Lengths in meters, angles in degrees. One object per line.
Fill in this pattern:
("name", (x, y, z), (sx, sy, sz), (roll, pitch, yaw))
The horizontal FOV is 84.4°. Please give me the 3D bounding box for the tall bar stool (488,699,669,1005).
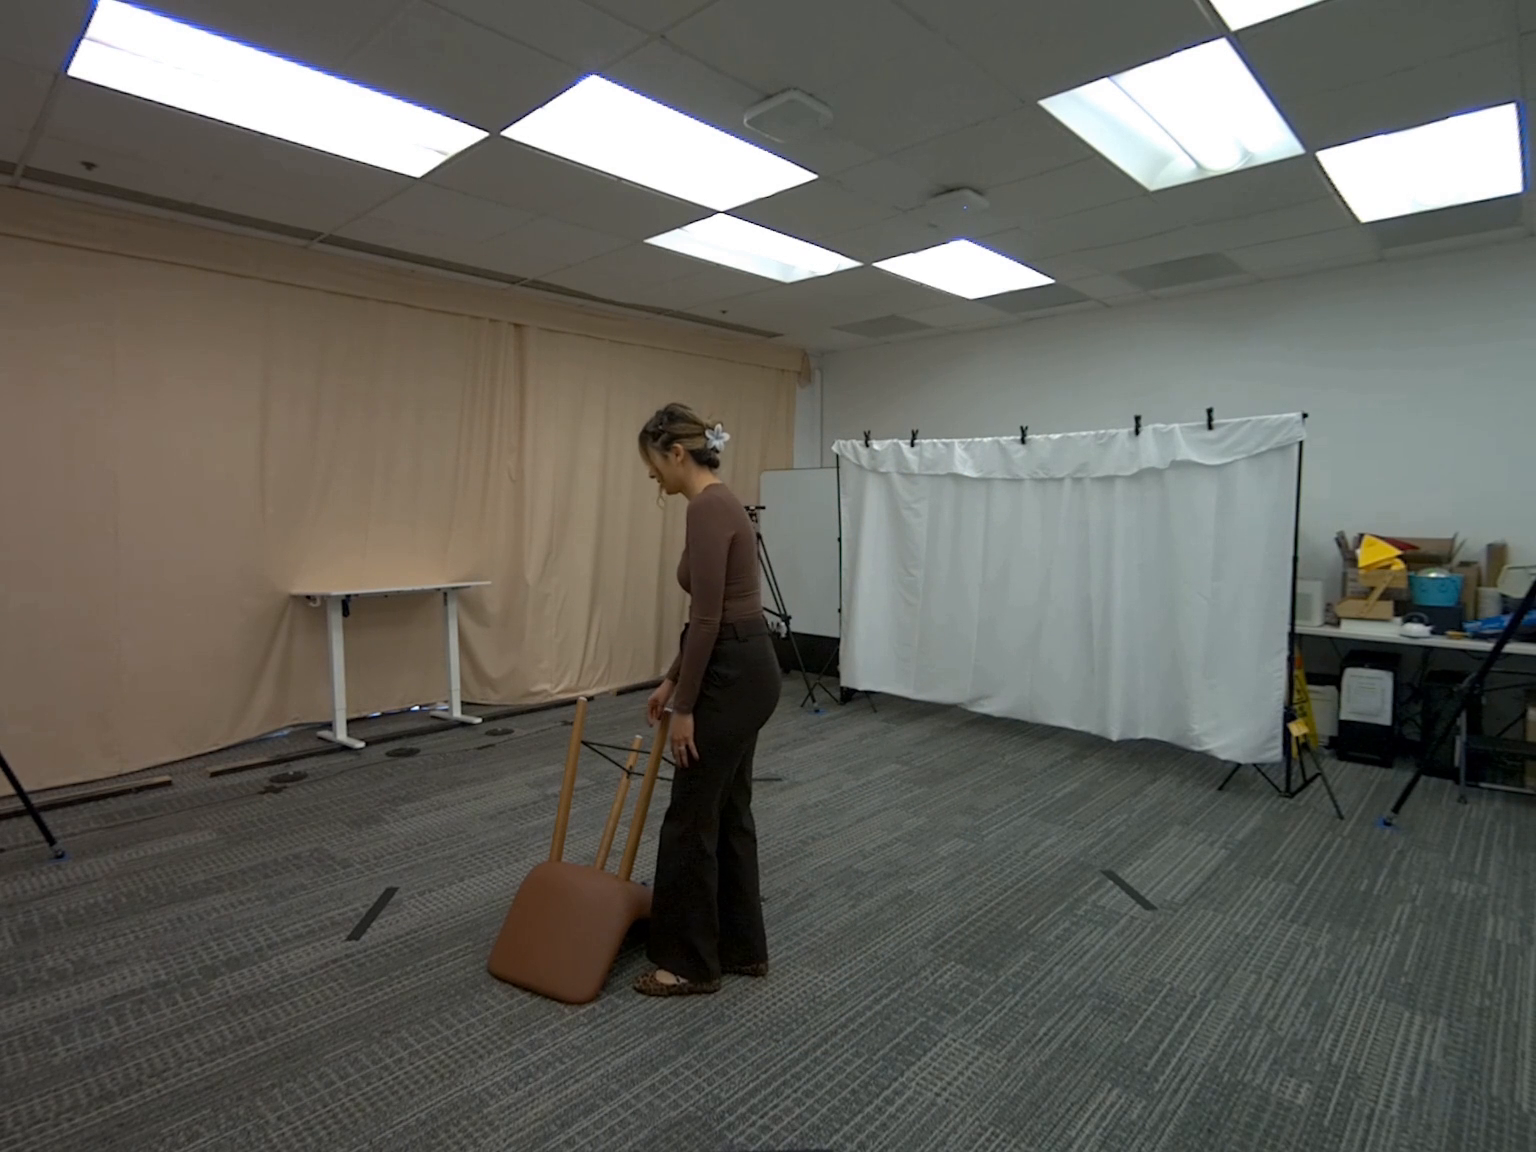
("tall bar stool", (-0.504, 0.917, 2.780), (0.469, 0.896, 0.452), (1, -30, 27))
